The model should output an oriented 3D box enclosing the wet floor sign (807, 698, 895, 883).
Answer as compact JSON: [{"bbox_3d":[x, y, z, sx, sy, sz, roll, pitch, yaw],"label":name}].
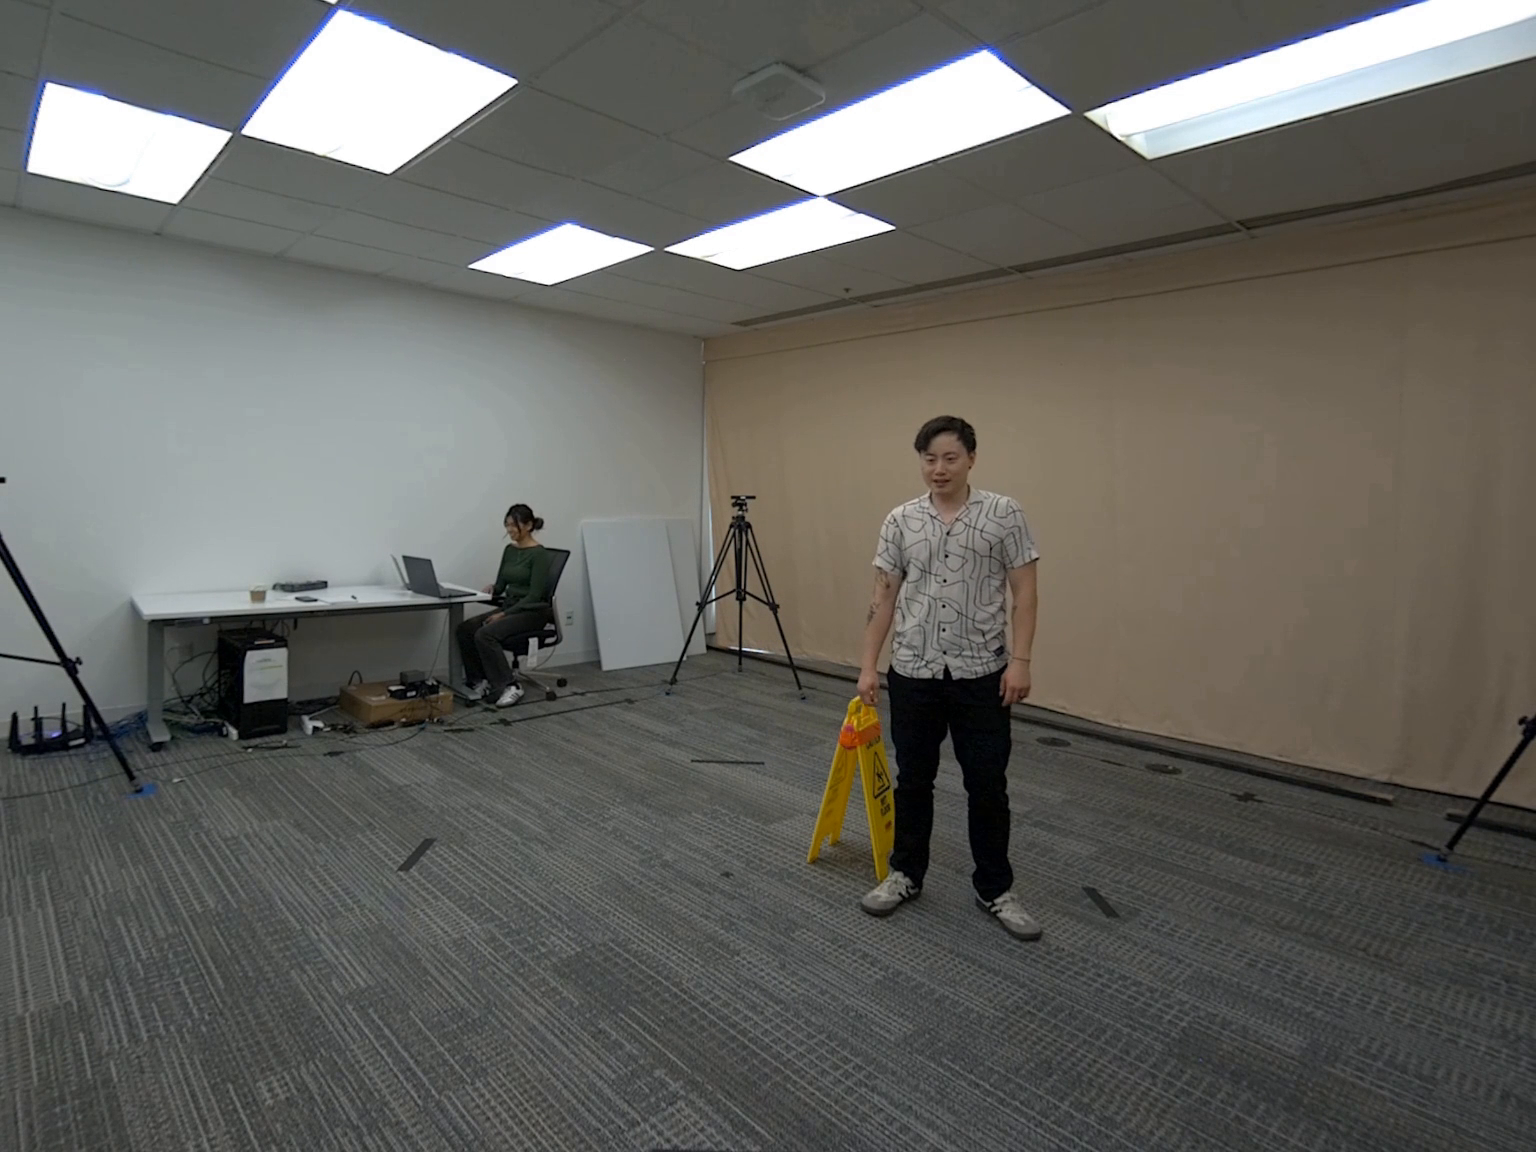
[{"bbox_3d":[0.342,0.776,3.241,0.296,0.645,0.276,2,2,29],"label":"wet floor sign"}]
